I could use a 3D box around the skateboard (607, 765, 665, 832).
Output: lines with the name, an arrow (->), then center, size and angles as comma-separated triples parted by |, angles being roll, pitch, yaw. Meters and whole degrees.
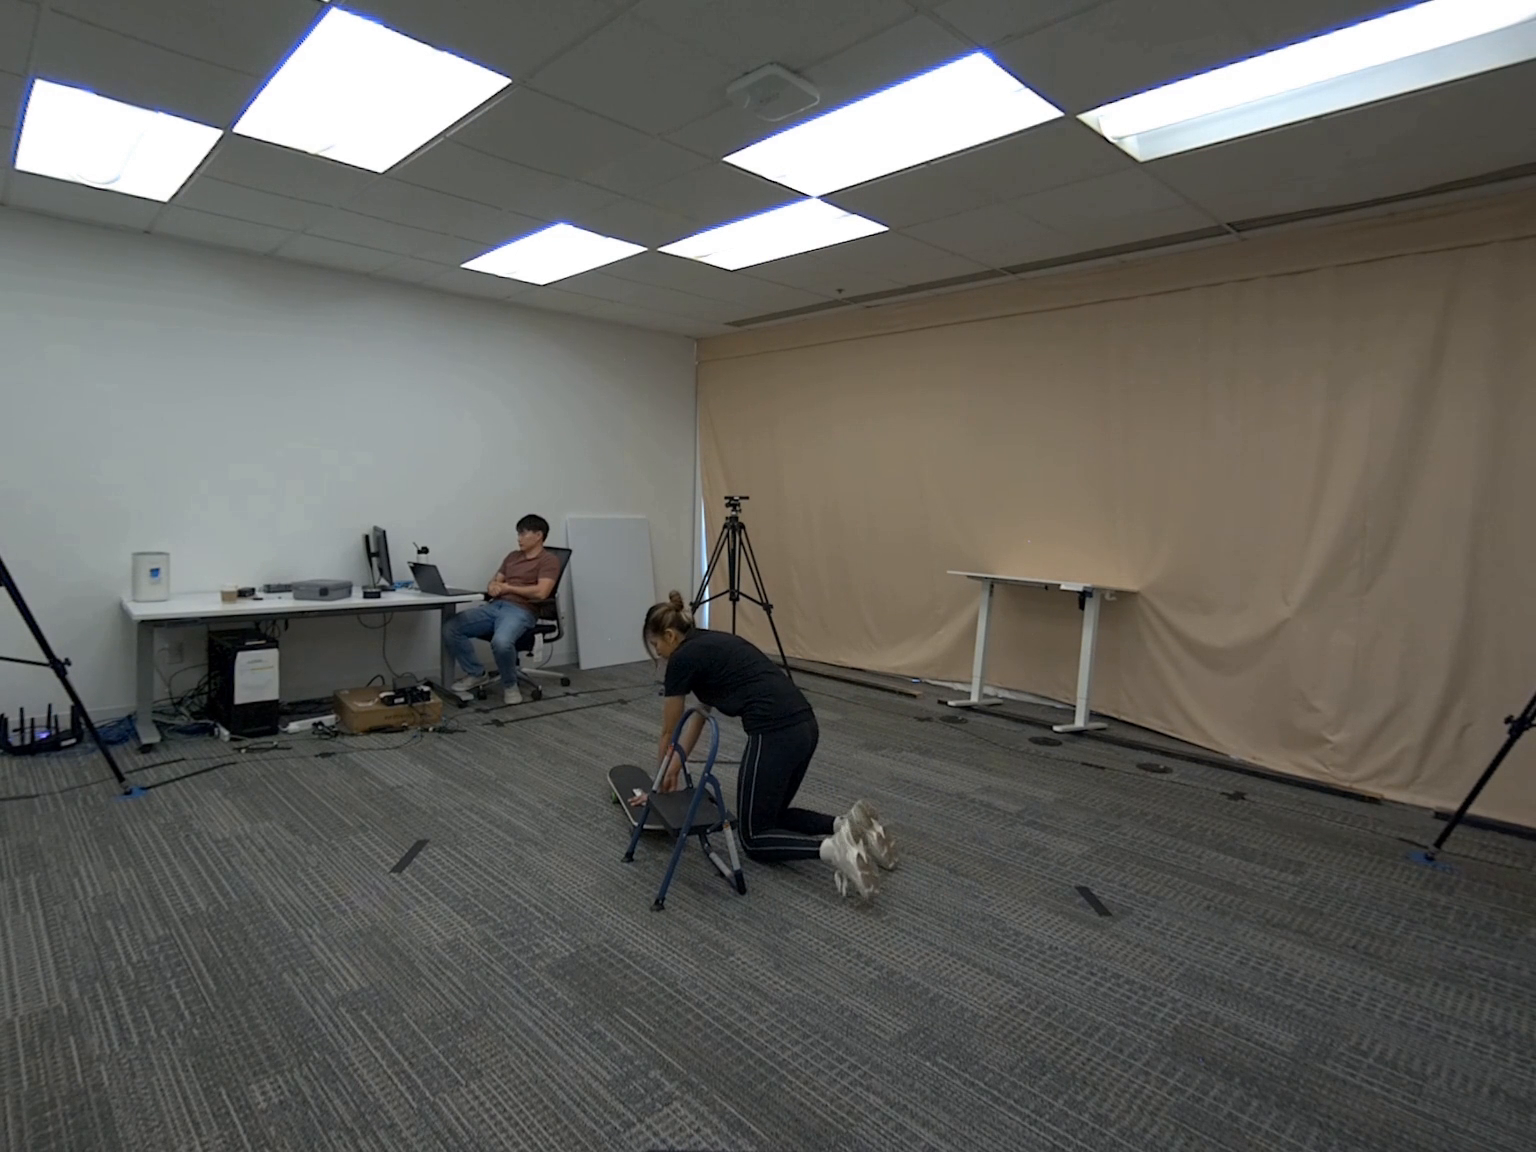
skateboard -> -0.564, 0.996, 3.665 | 0.190, 0.110, 0.799 | 4, 5, -20
